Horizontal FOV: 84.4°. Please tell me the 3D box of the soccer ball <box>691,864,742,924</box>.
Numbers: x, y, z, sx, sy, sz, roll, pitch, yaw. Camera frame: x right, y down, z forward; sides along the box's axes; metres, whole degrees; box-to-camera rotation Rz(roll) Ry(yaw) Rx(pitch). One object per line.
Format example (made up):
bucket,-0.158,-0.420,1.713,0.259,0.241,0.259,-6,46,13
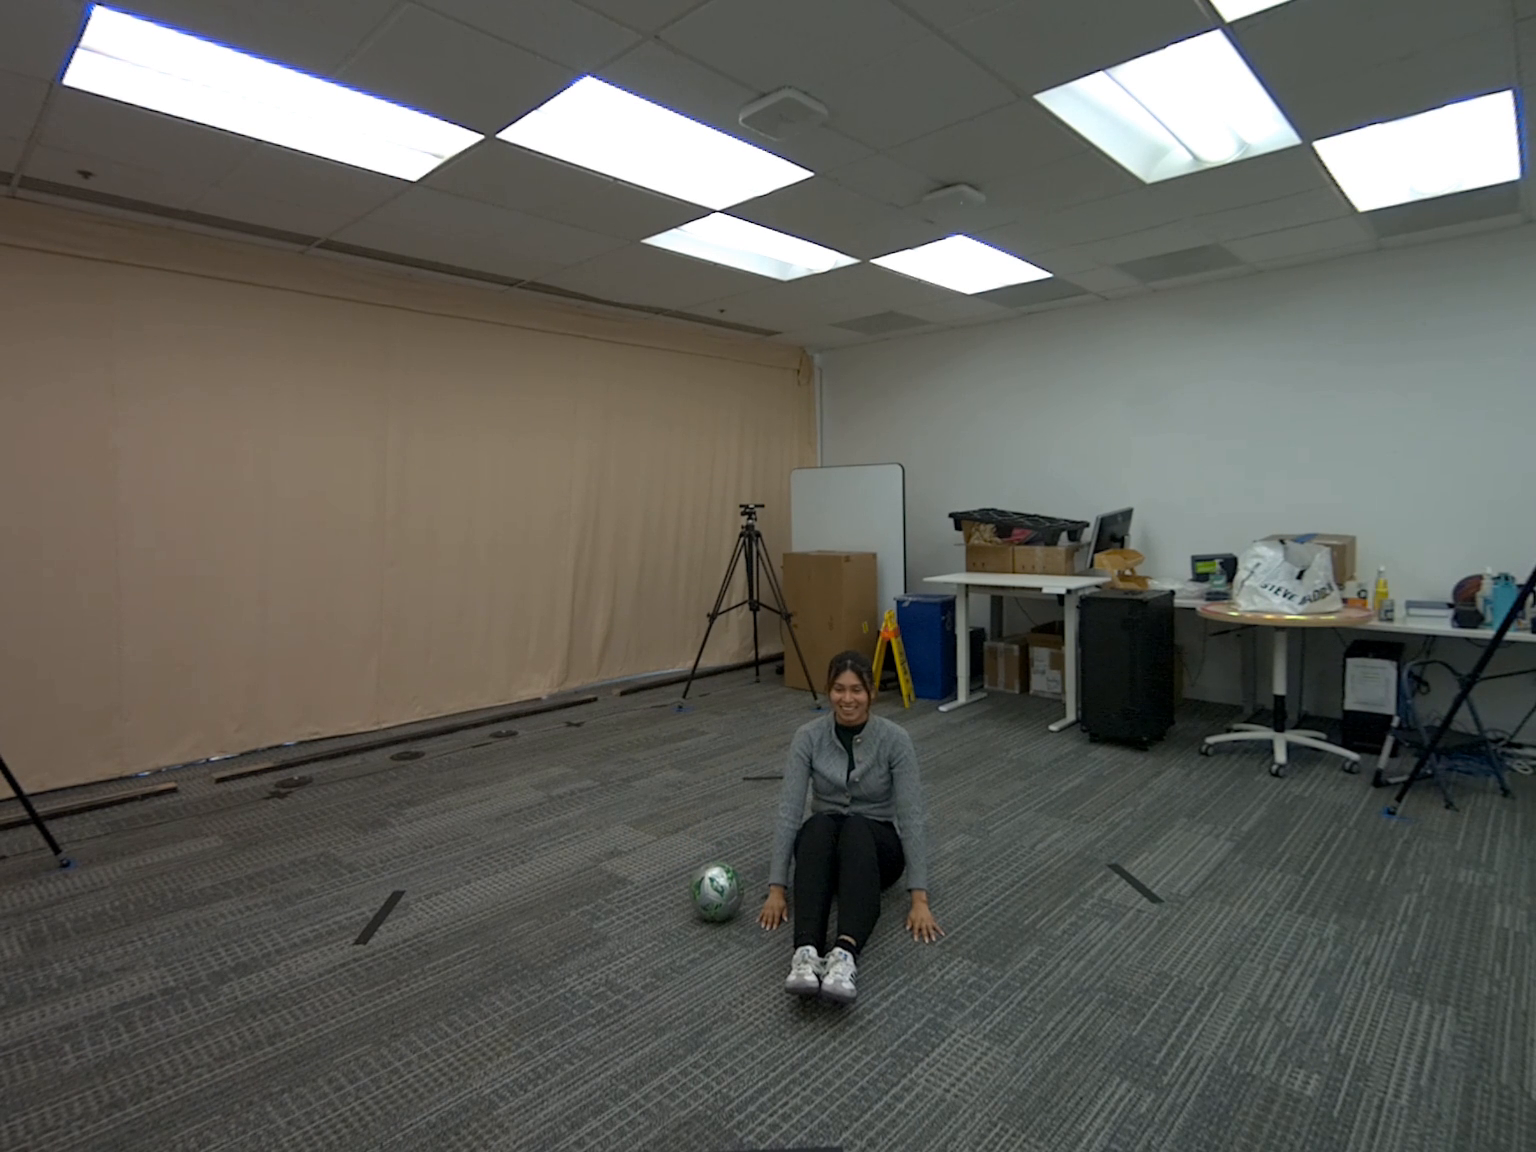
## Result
soccer ball,-0.169,1.062,2.839,0.187,0.187,0.188,-1,4,-2
